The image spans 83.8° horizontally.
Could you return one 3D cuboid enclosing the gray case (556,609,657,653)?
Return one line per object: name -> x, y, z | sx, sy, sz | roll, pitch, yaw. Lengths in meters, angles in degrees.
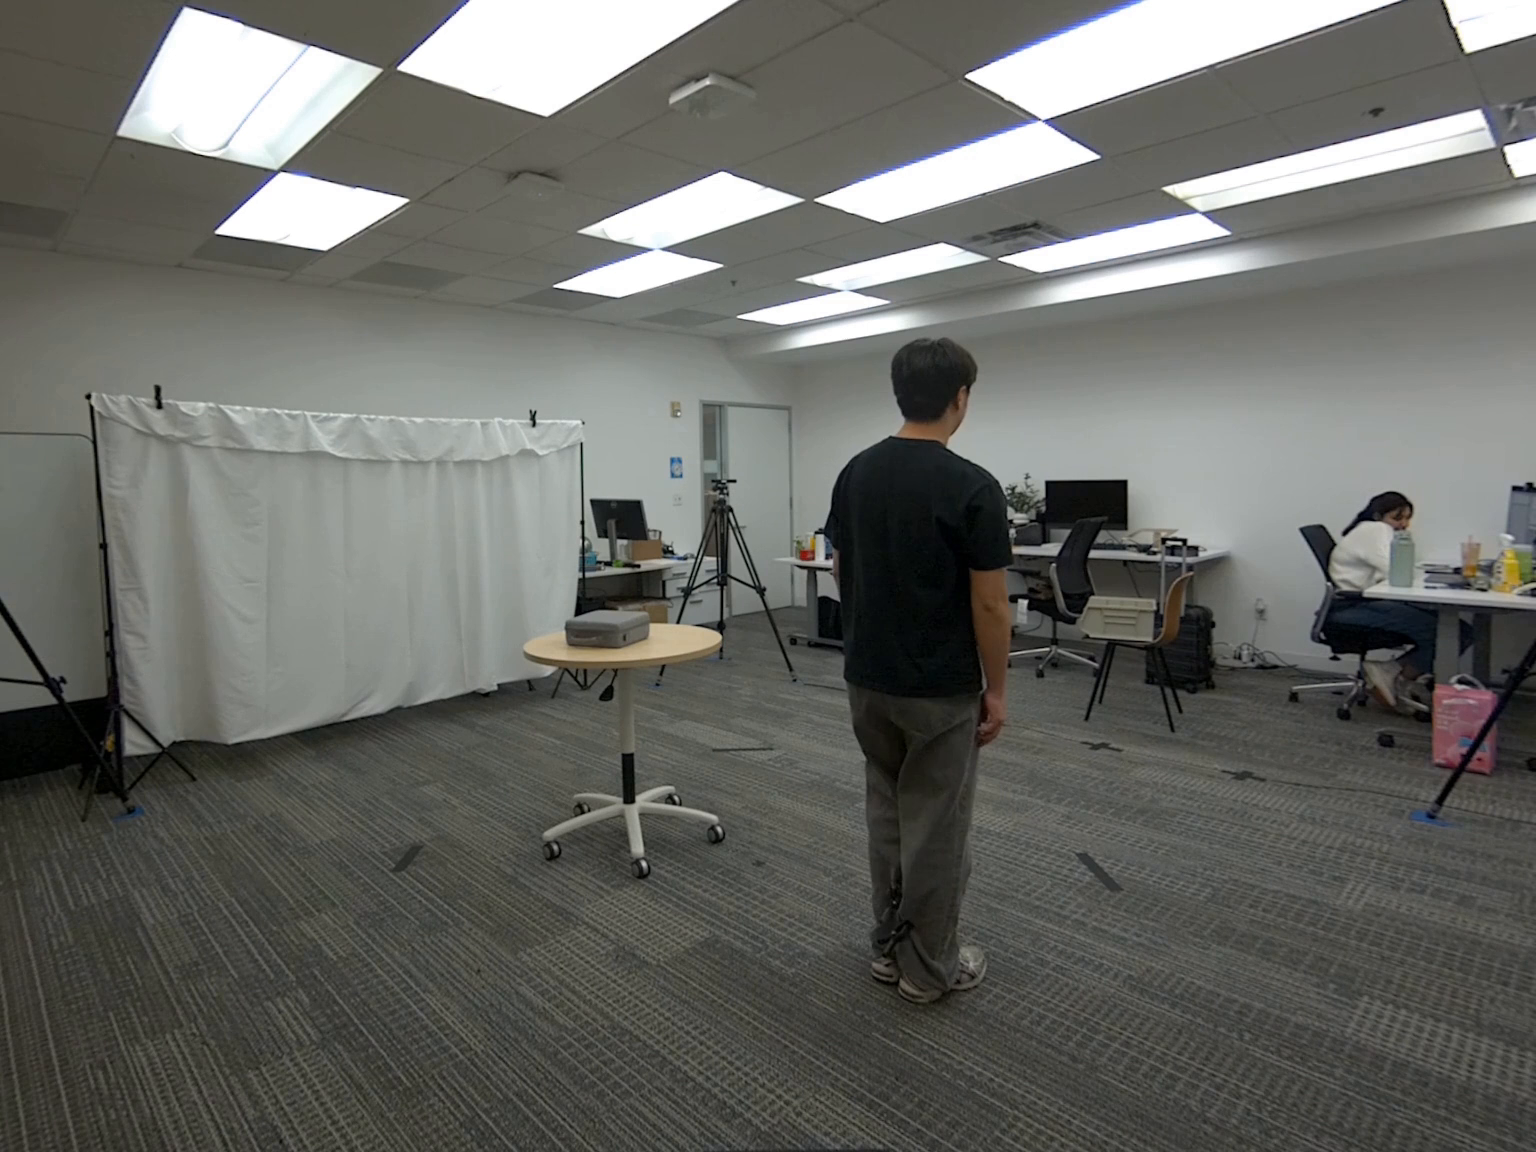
gray case -> -0.617, 0.206, 3.287 | 0.269, 0.102, 0.282 | 0, 7, 23
